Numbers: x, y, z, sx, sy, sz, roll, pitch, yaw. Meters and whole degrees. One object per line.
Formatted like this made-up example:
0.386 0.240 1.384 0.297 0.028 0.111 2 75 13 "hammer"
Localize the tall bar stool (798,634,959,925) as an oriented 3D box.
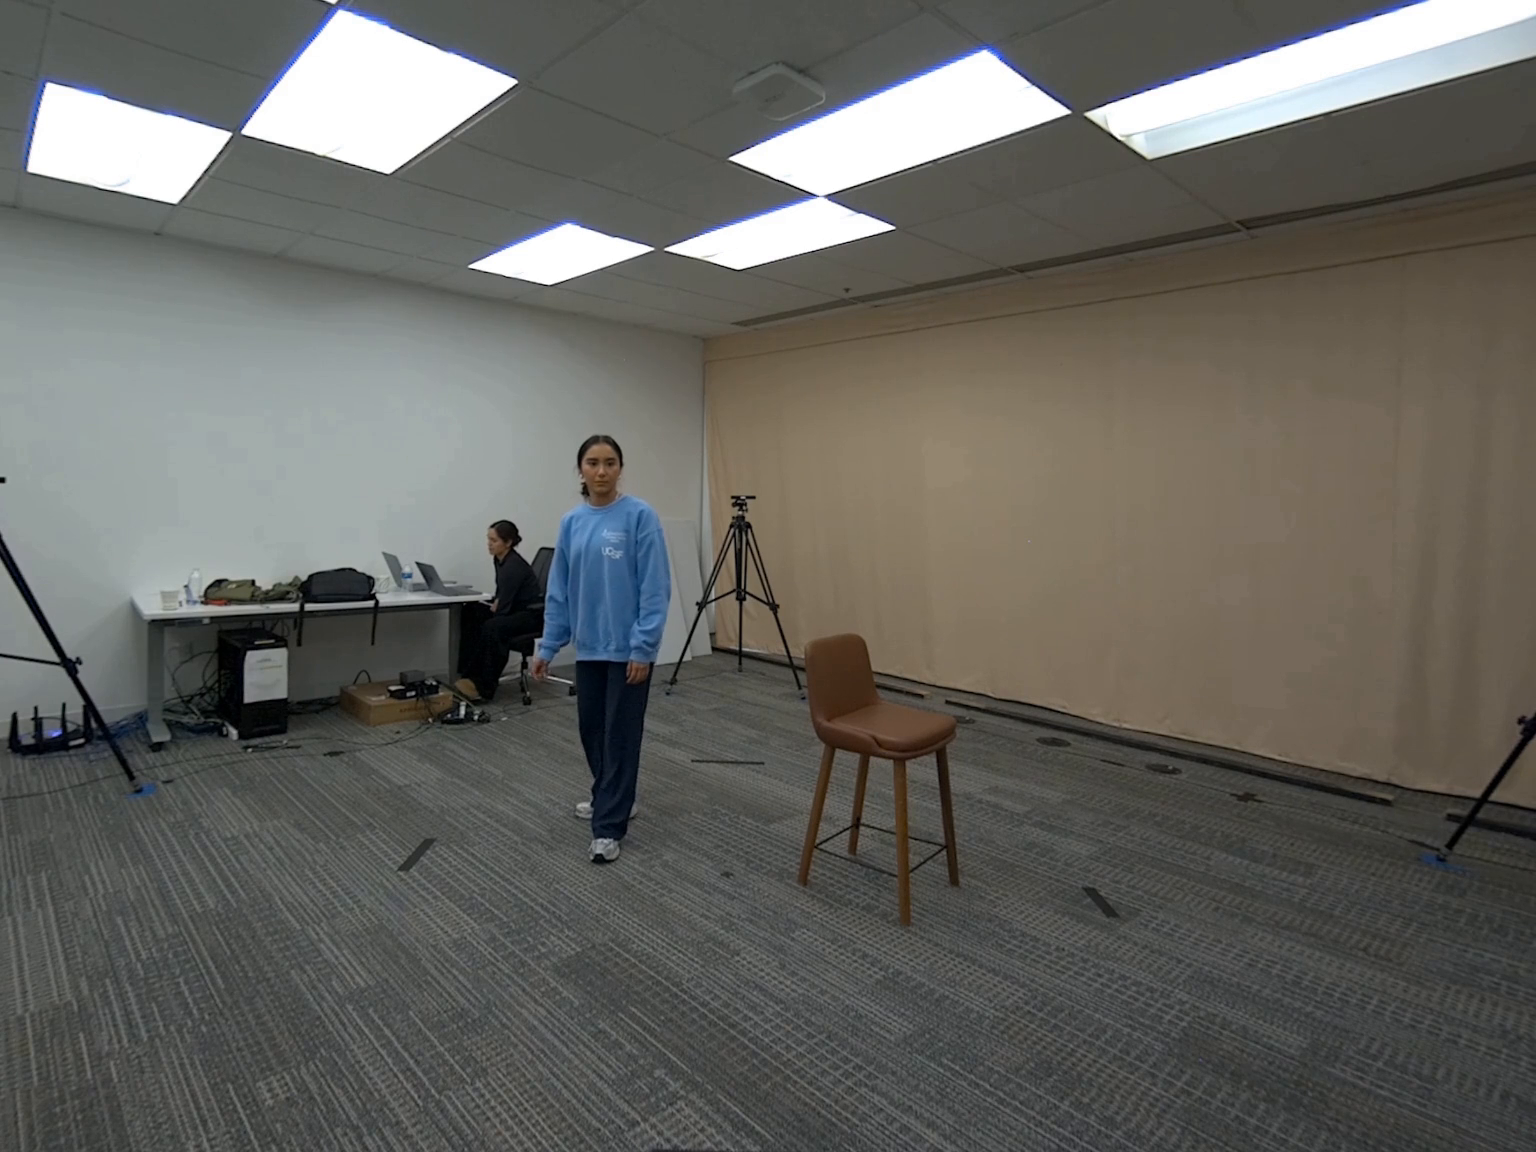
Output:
0.394 0.684 3.026 0.479 0.888 0.446 2 3 38 "tall bar stool"
